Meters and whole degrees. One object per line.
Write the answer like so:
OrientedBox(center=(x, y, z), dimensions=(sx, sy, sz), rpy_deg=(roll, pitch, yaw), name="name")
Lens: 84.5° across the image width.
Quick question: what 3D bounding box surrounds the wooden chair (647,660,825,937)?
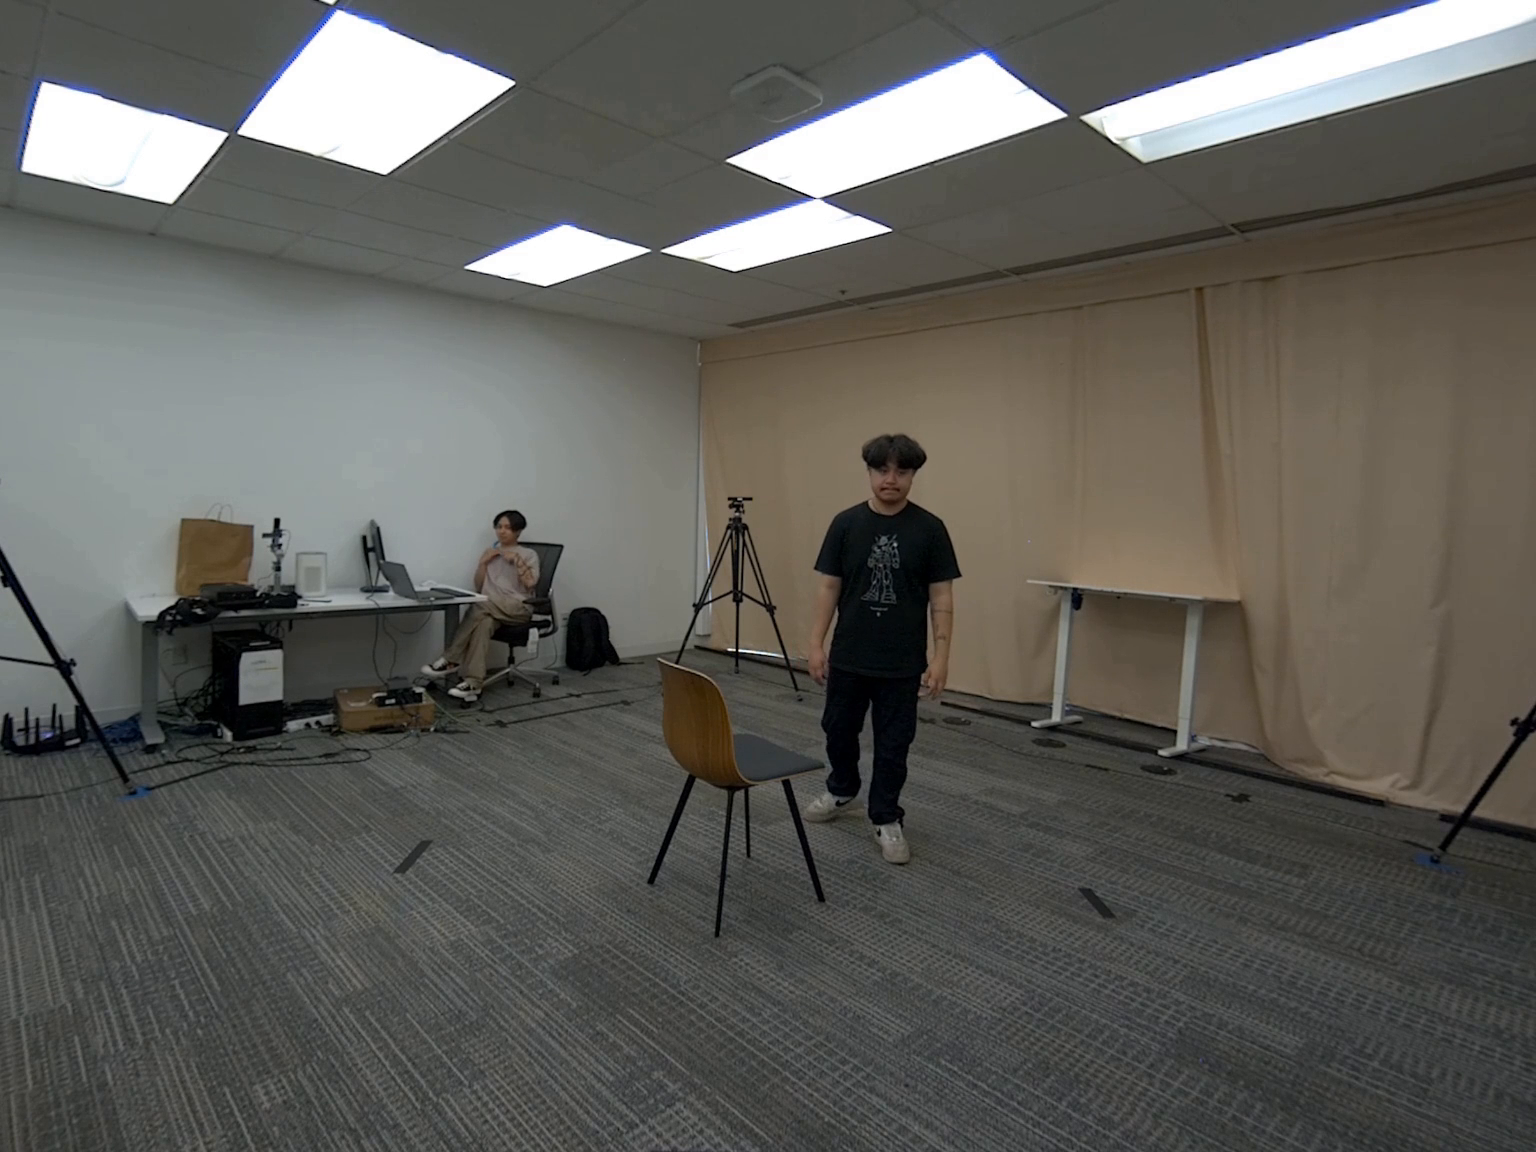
OrientedBox(center=(-0.108, 0.695, 2.949), dimensions=(0.513, 0.873, 0.490), rpy_deg=(-7, 7, -36), name="wooden chair")
